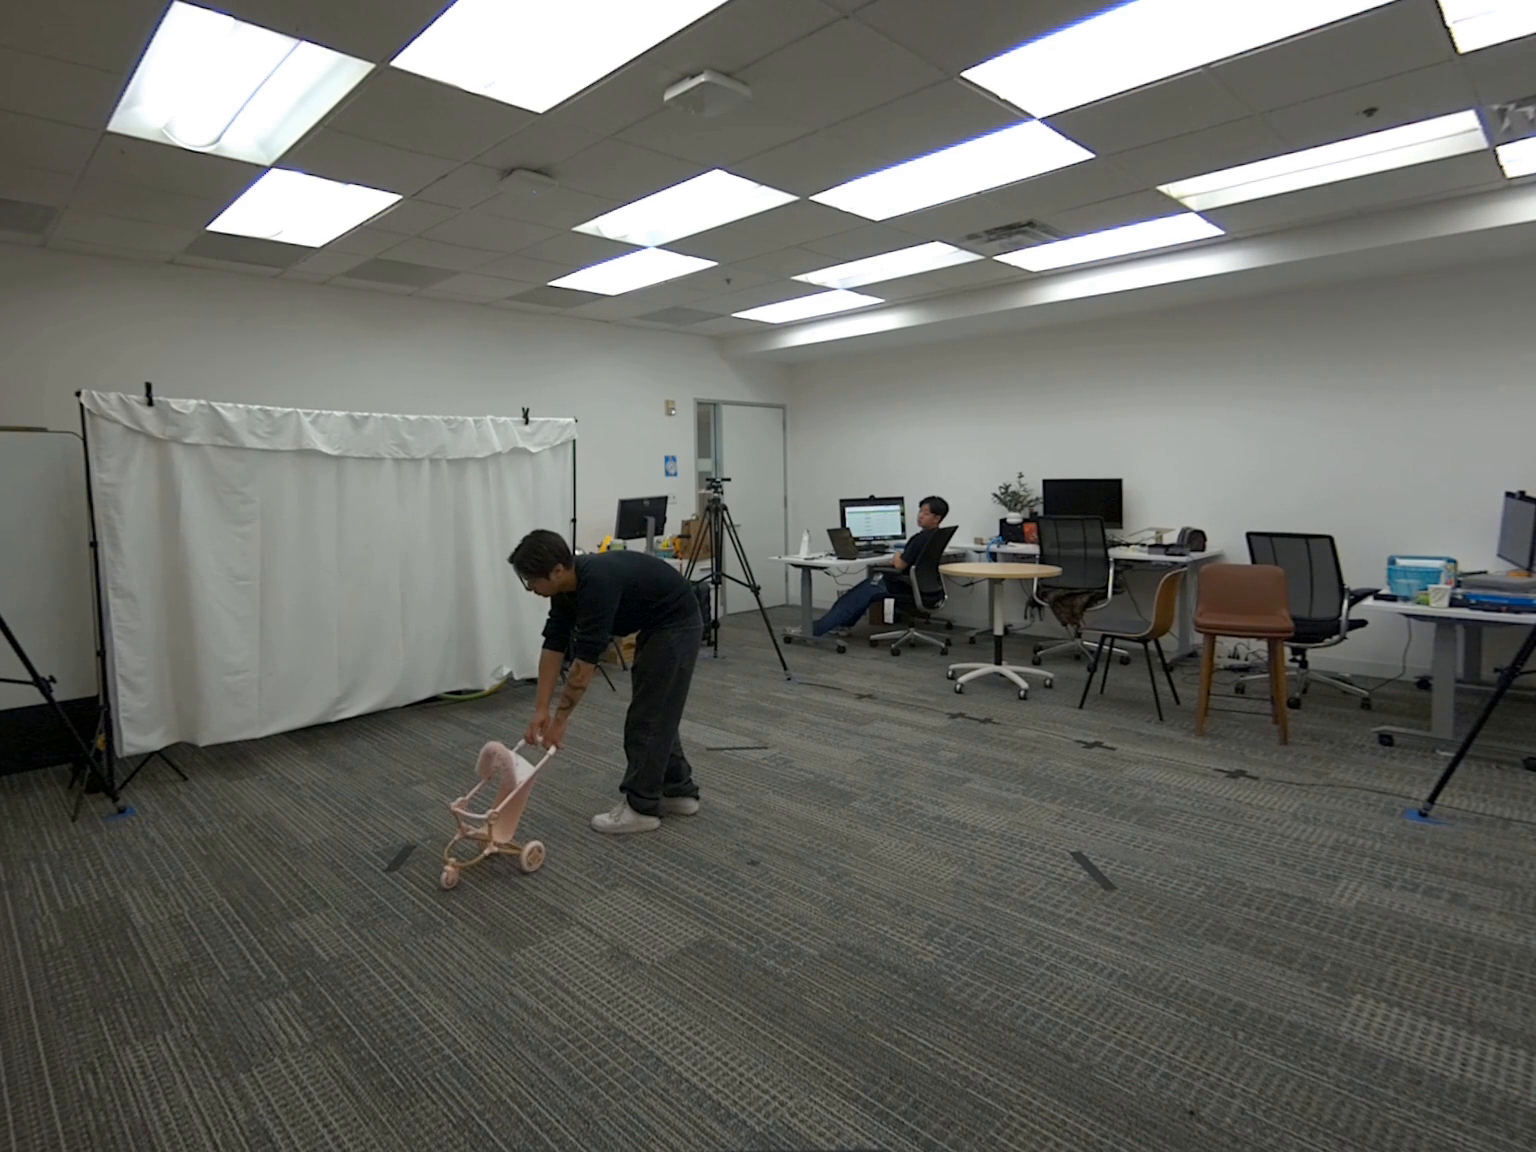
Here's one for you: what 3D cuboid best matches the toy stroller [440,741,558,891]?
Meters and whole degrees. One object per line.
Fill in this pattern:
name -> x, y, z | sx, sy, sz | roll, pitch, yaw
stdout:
toy stroller -> -0.983, 0.838, 3.094 | 0.290, 0.538, 0.329 | 2, -11, 43
